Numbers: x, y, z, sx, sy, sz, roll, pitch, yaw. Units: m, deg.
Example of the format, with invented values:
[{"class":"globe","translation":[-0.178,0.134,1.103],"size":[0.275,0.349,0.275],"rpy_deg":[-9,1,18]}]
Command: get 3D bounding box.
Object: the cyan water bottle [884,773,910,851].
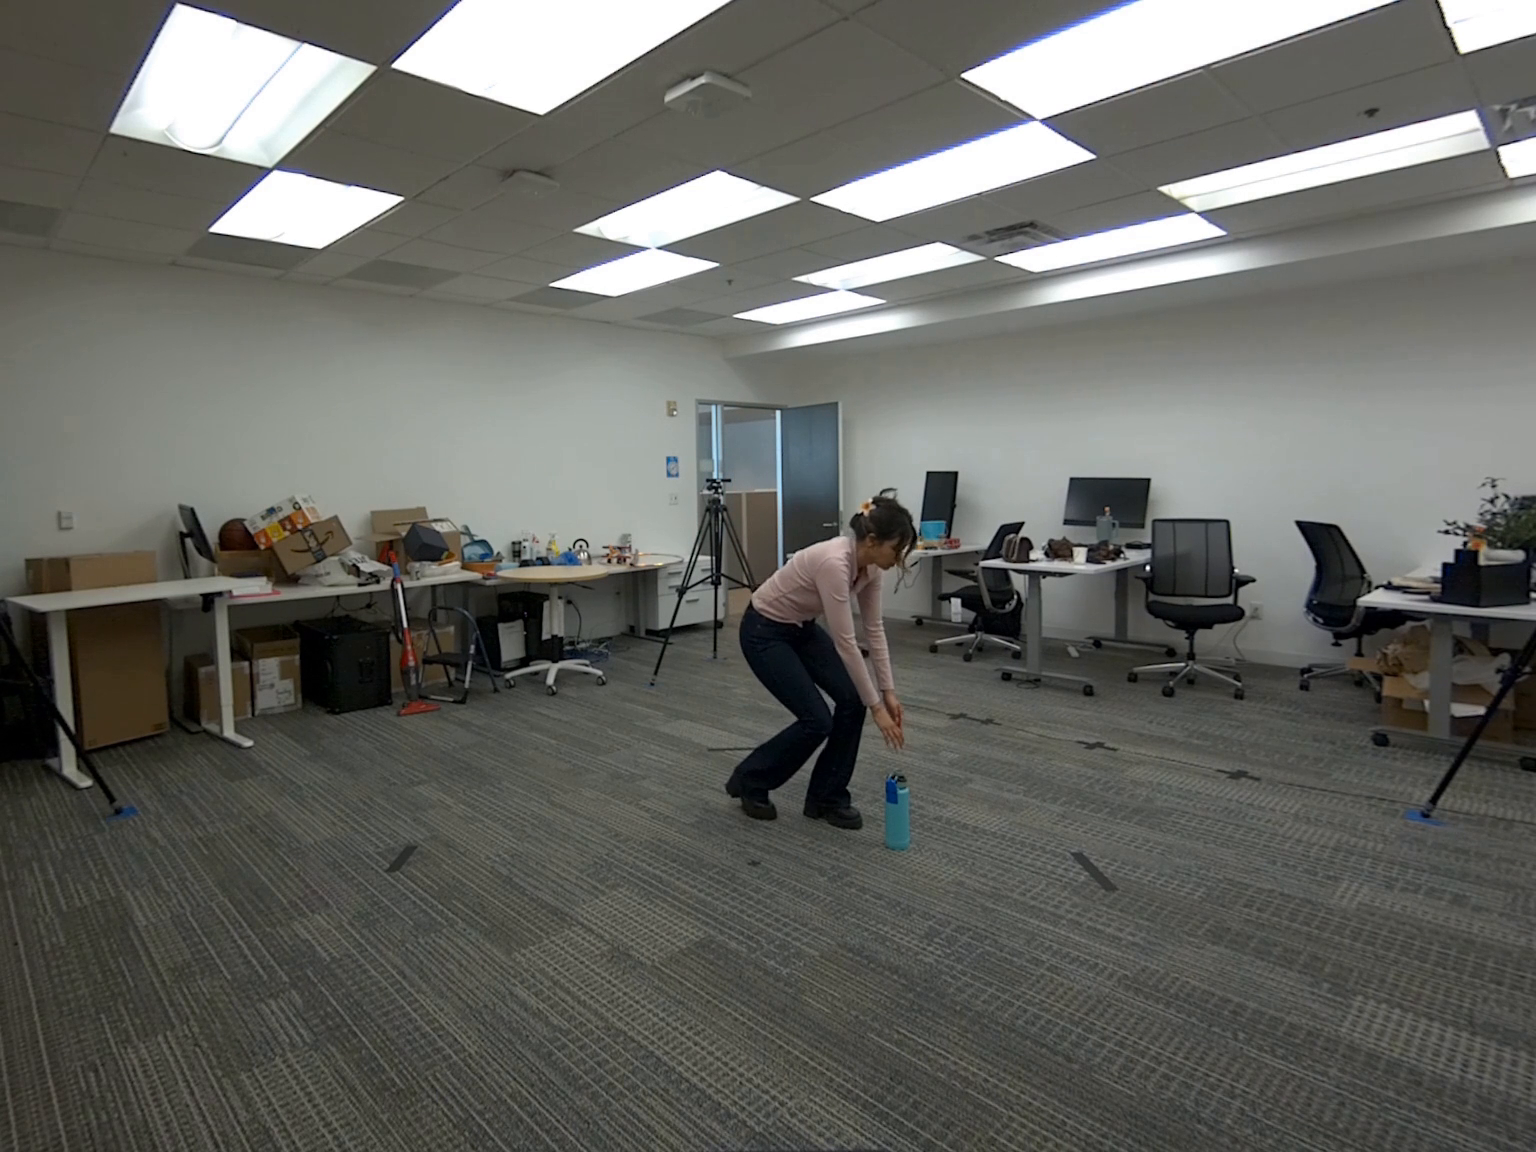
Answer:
[{"class":"cyan water bottle","translation":[0.495,0.883,3.227],"size":[0.092,0.282,0.093],"rpy_deg":[-1,3,-2]}]
